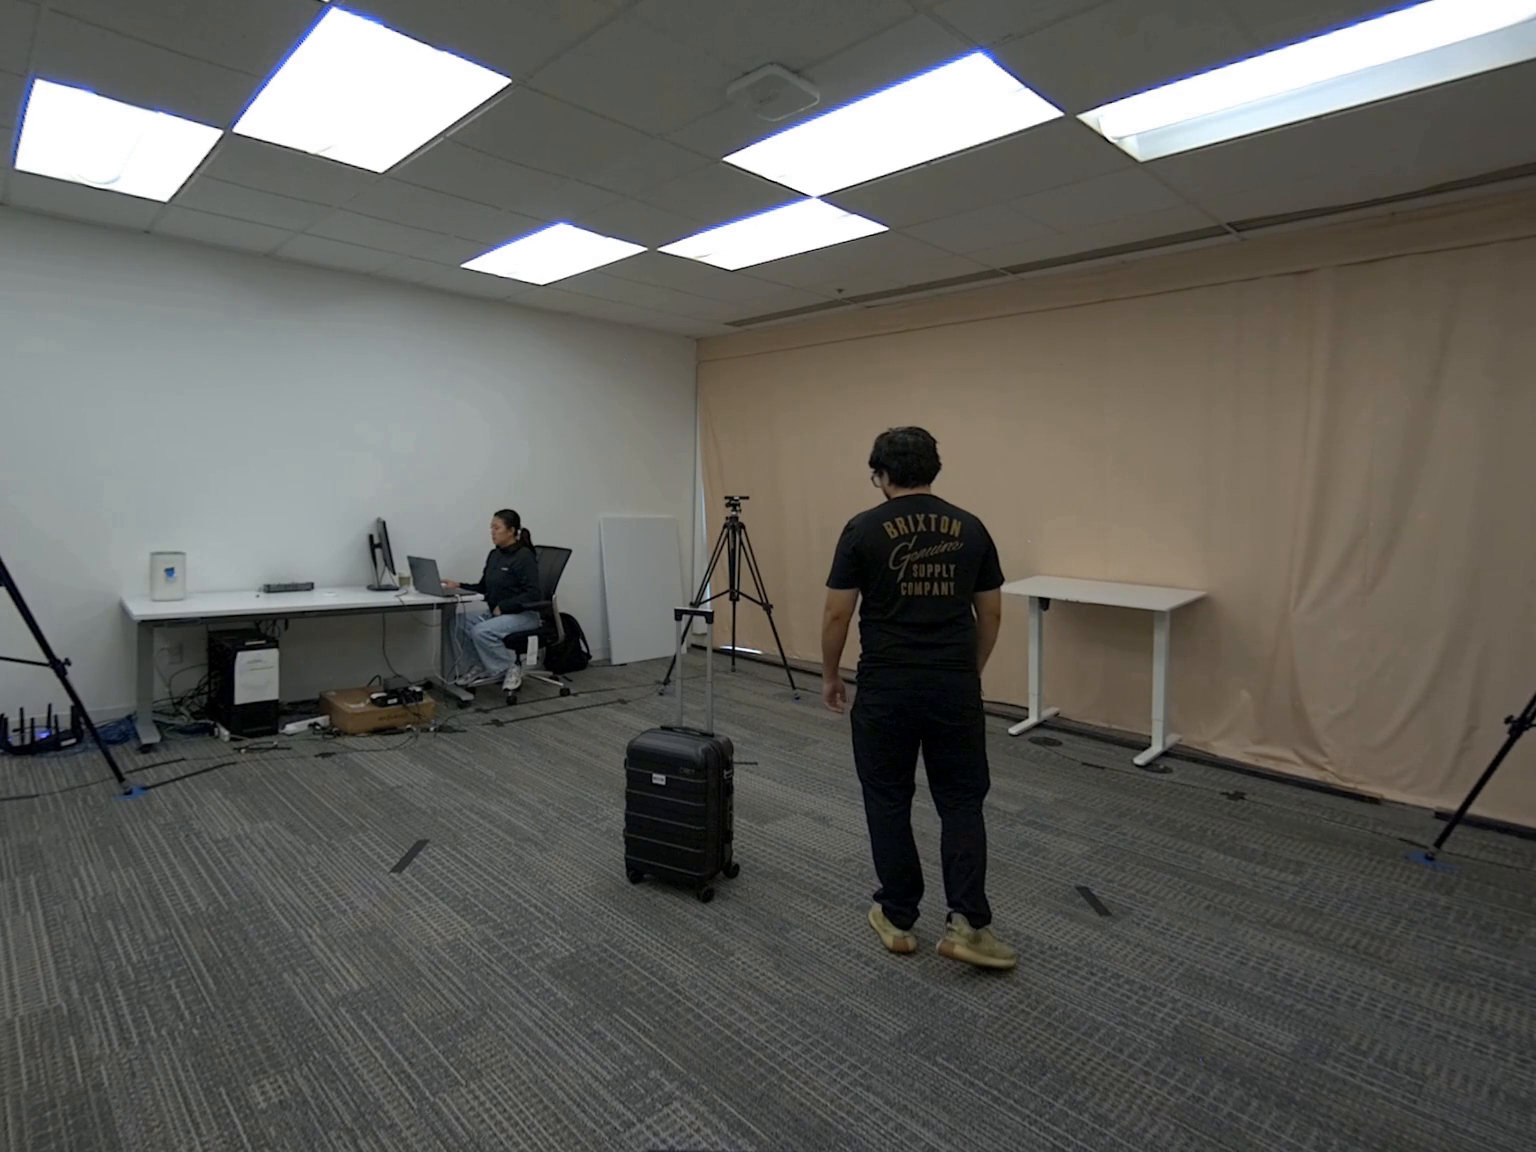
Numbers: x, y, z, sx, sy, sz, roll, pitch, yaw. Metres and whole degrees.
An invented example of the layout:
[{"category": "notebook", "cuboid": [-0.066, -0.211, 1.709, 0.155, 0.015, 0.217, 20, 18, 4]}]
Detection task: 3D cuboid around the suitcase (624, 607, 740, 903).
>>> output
[{"category": "suitcase", "cuboid": [-0.321, 0.633, 3.016, 0.391, 0.974, 0.253, 2, 7, 24]}]
